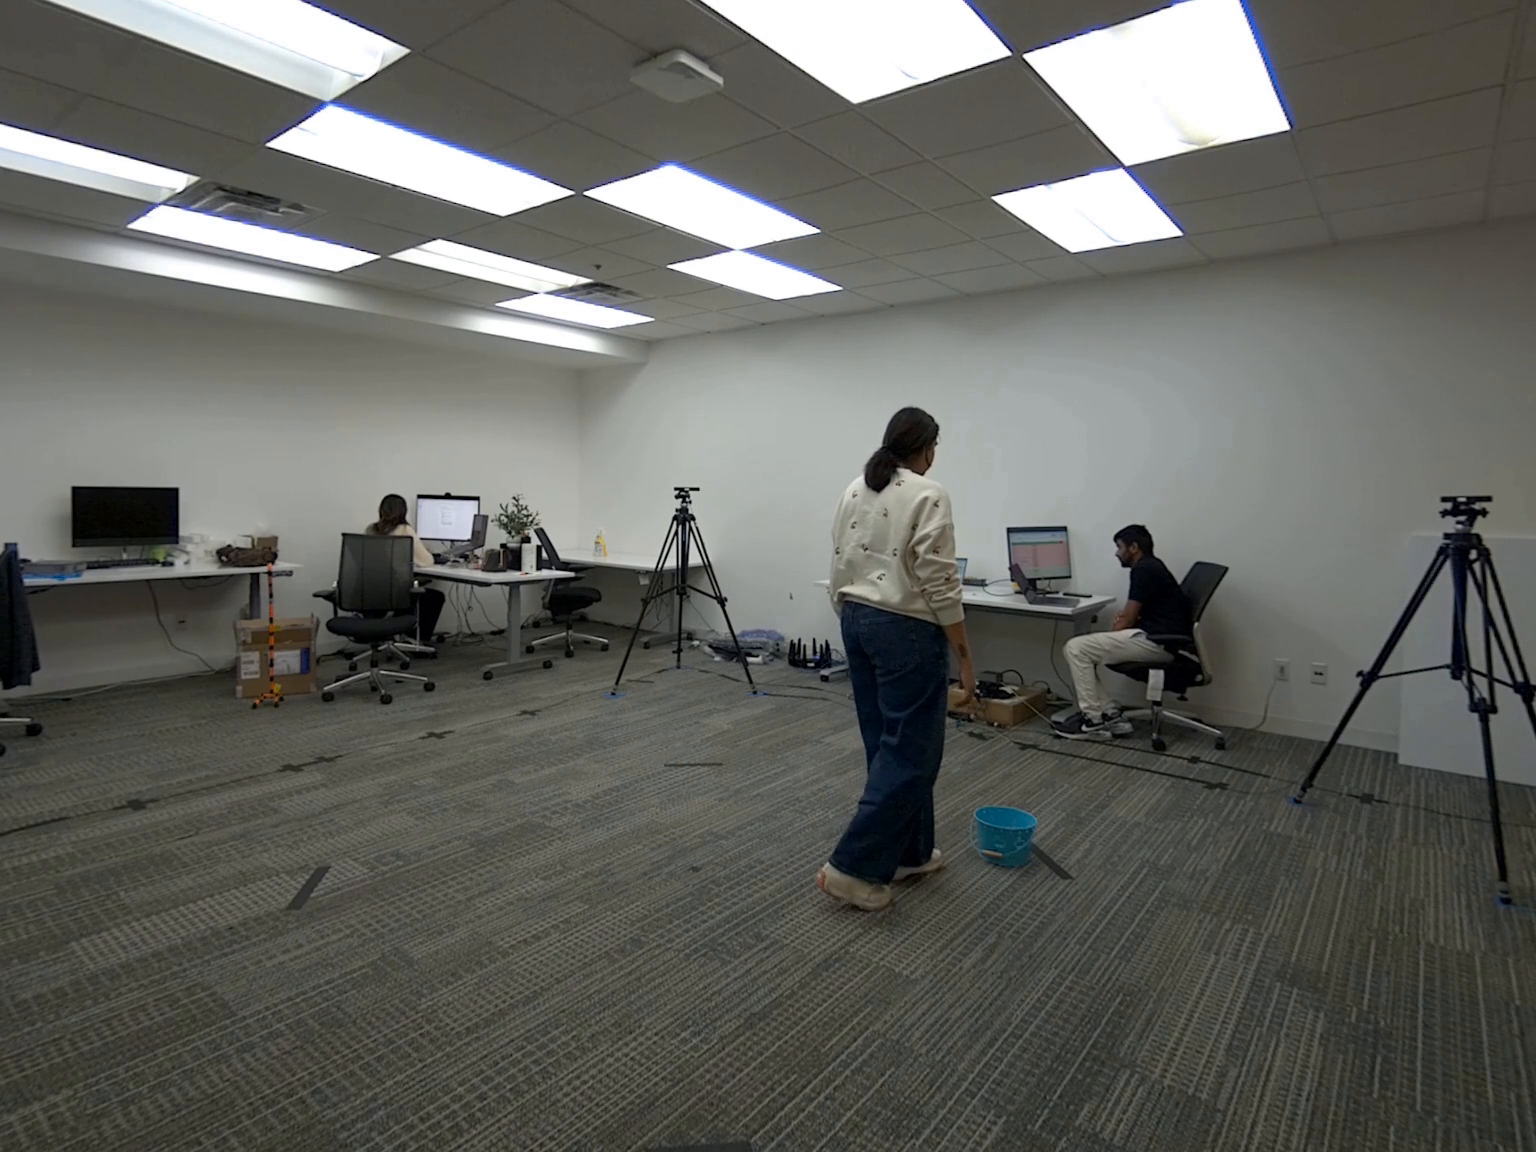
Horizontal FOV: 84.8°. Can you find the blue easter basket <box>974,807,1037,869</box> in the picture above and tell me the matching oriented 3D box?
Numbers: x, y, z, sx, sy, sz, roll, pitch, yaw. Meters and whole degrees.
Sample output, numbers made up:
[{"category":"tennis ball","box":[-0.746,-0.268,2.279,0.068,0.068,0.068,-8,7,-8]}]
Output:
[{"category":"blue easter basket","box":[0.900,0.994,3.280,0.243,0.155,0.245,1,4,-2]}]
